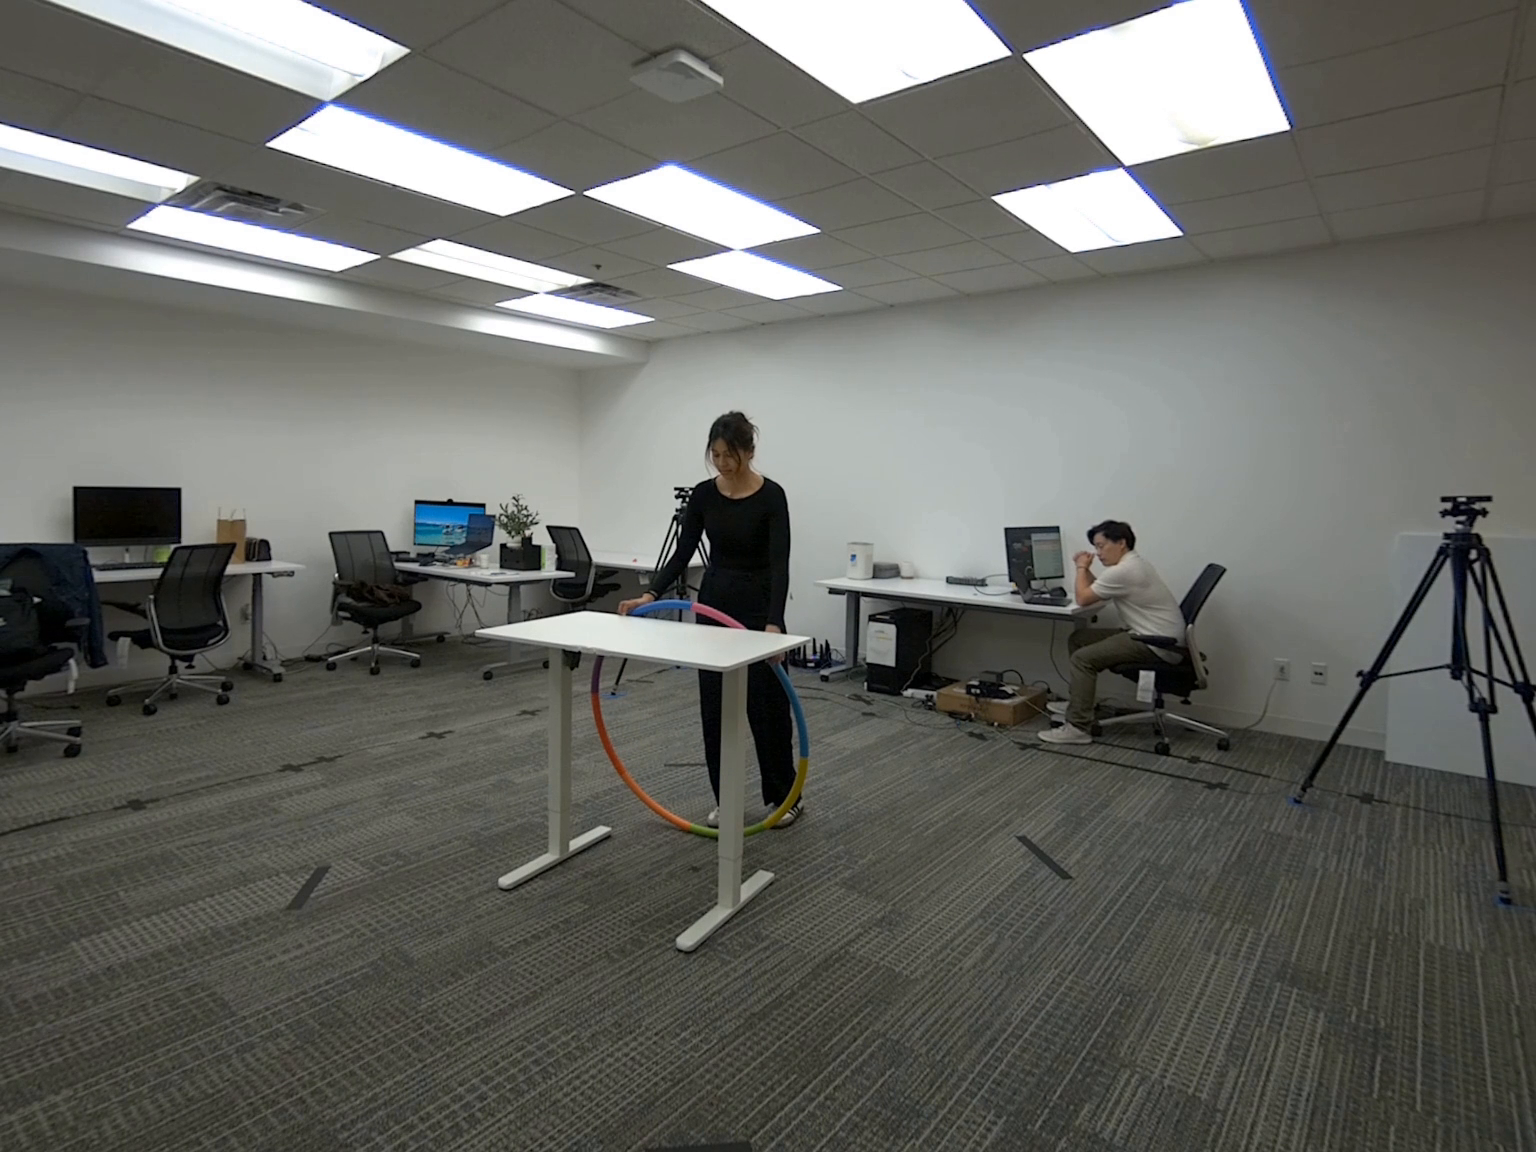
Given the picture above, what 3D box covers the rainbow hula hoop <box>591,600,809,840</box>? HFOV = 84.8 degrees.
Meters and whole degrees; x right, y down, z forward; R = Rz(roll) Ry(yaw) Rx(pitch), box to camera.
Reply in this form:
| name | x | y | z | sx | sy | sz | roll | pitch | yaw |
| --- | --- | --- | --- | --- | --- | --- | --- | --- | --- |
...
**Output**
| name | x | y | z | sx | sy | sz | roll | pitch | yaw |
| --- | --- | --- | --- | --- | --- | --- | --- | --- | --- |
| rainbow hula hoop | -0.304 | 0.560 | 3.318 | 1.008 | 0.966 | 0.035 | 3 | 15 | 31 |
